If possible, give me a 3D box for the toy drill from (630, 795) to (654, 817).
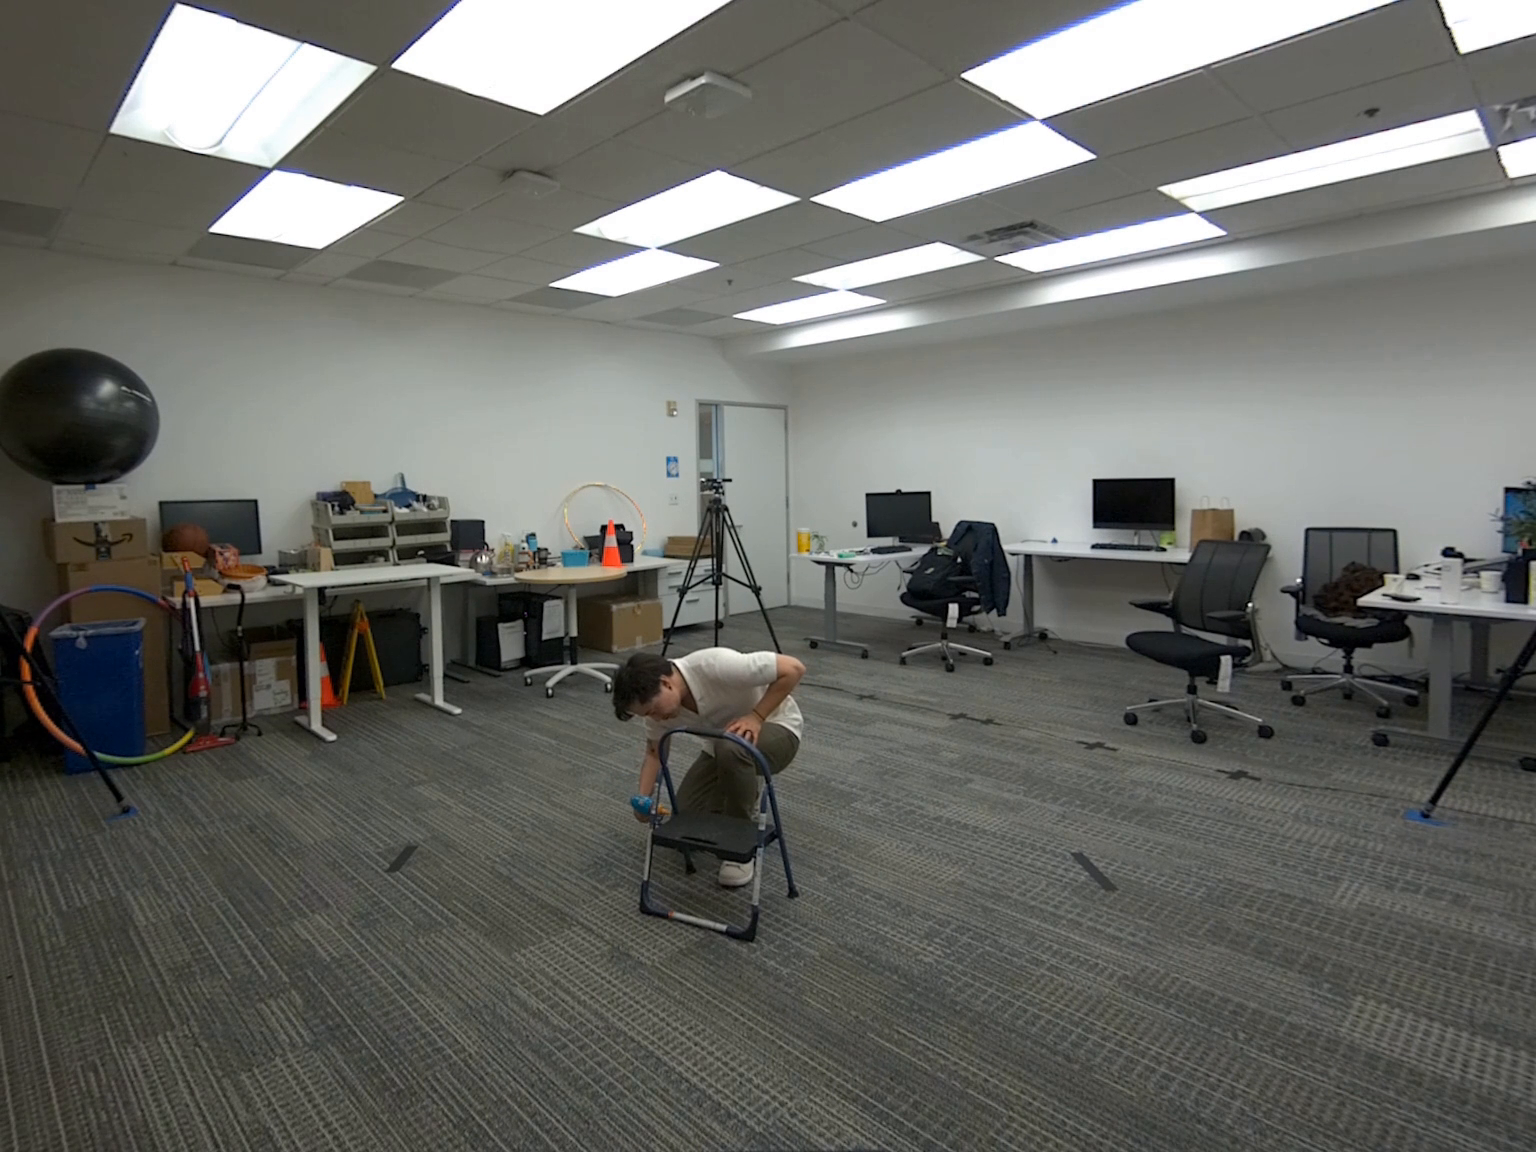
[{"bbox_3d":[-0.403,0.828,3.046,0.174,0.062,0.141,10,-19,24],"label":"toy drill"}]
